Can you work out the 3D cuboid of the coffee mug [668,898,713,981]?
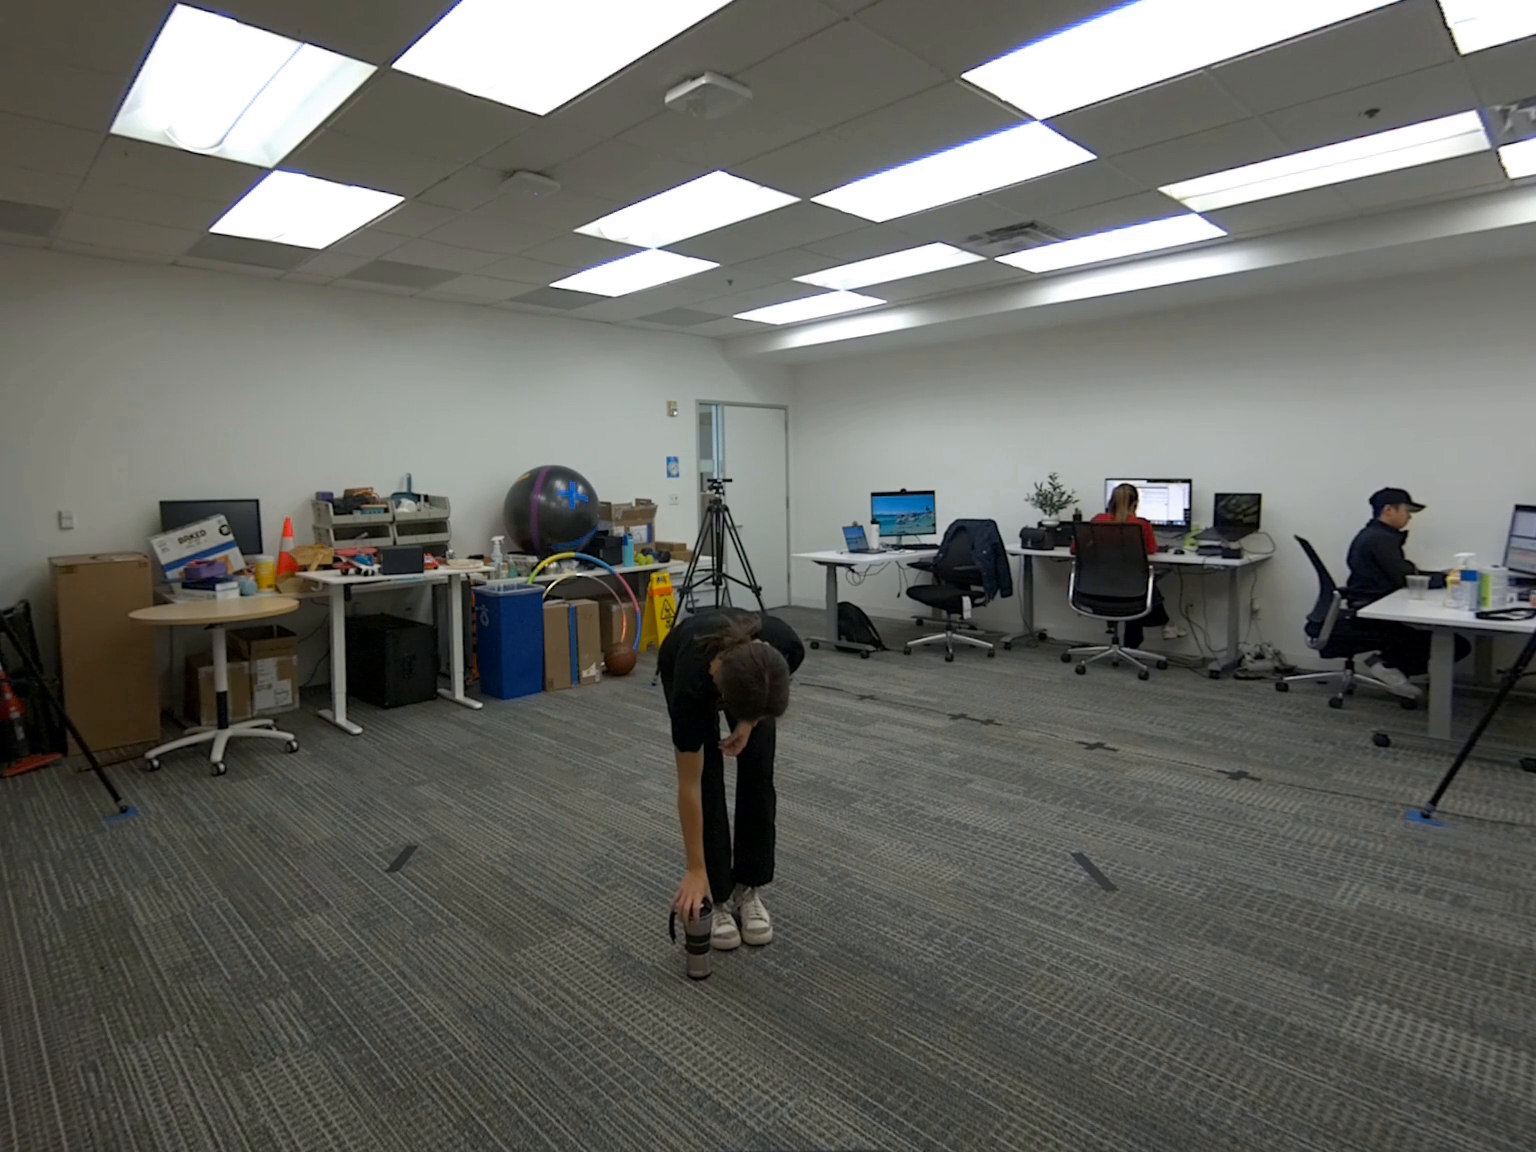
[{"bbox_3d":[-0.215,1.039,2.428,0.125,0.202,0.086,3,7,32],"label":"coffee mug"}]
